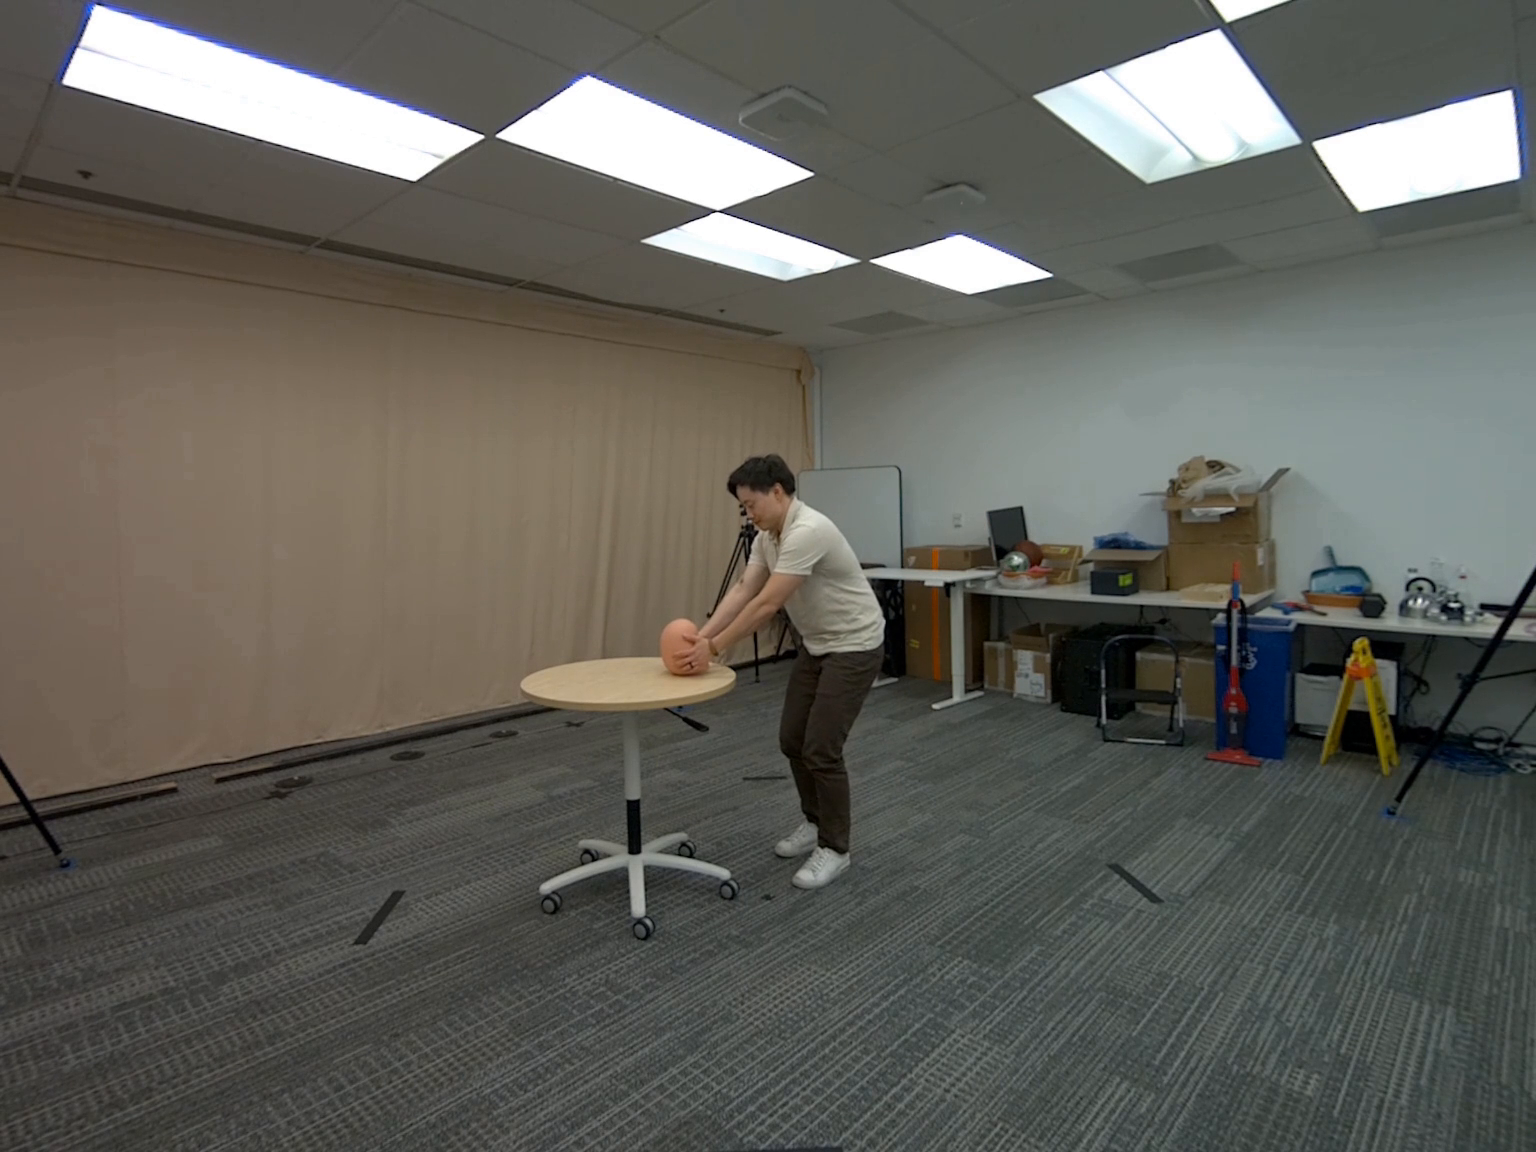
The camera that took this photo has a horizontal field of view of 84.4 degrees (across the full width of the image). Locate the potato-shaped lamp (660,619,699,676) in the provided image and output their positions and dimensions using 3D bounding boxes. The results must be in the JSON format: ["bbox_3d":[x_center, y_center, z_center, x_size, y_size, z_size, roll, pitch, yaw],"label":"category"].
[{"bbox_3d":[-0.309,0.258,3.061,0.169,0.197,0.167,-8,3,-16],"label":"potato-shaped lamp"}]
